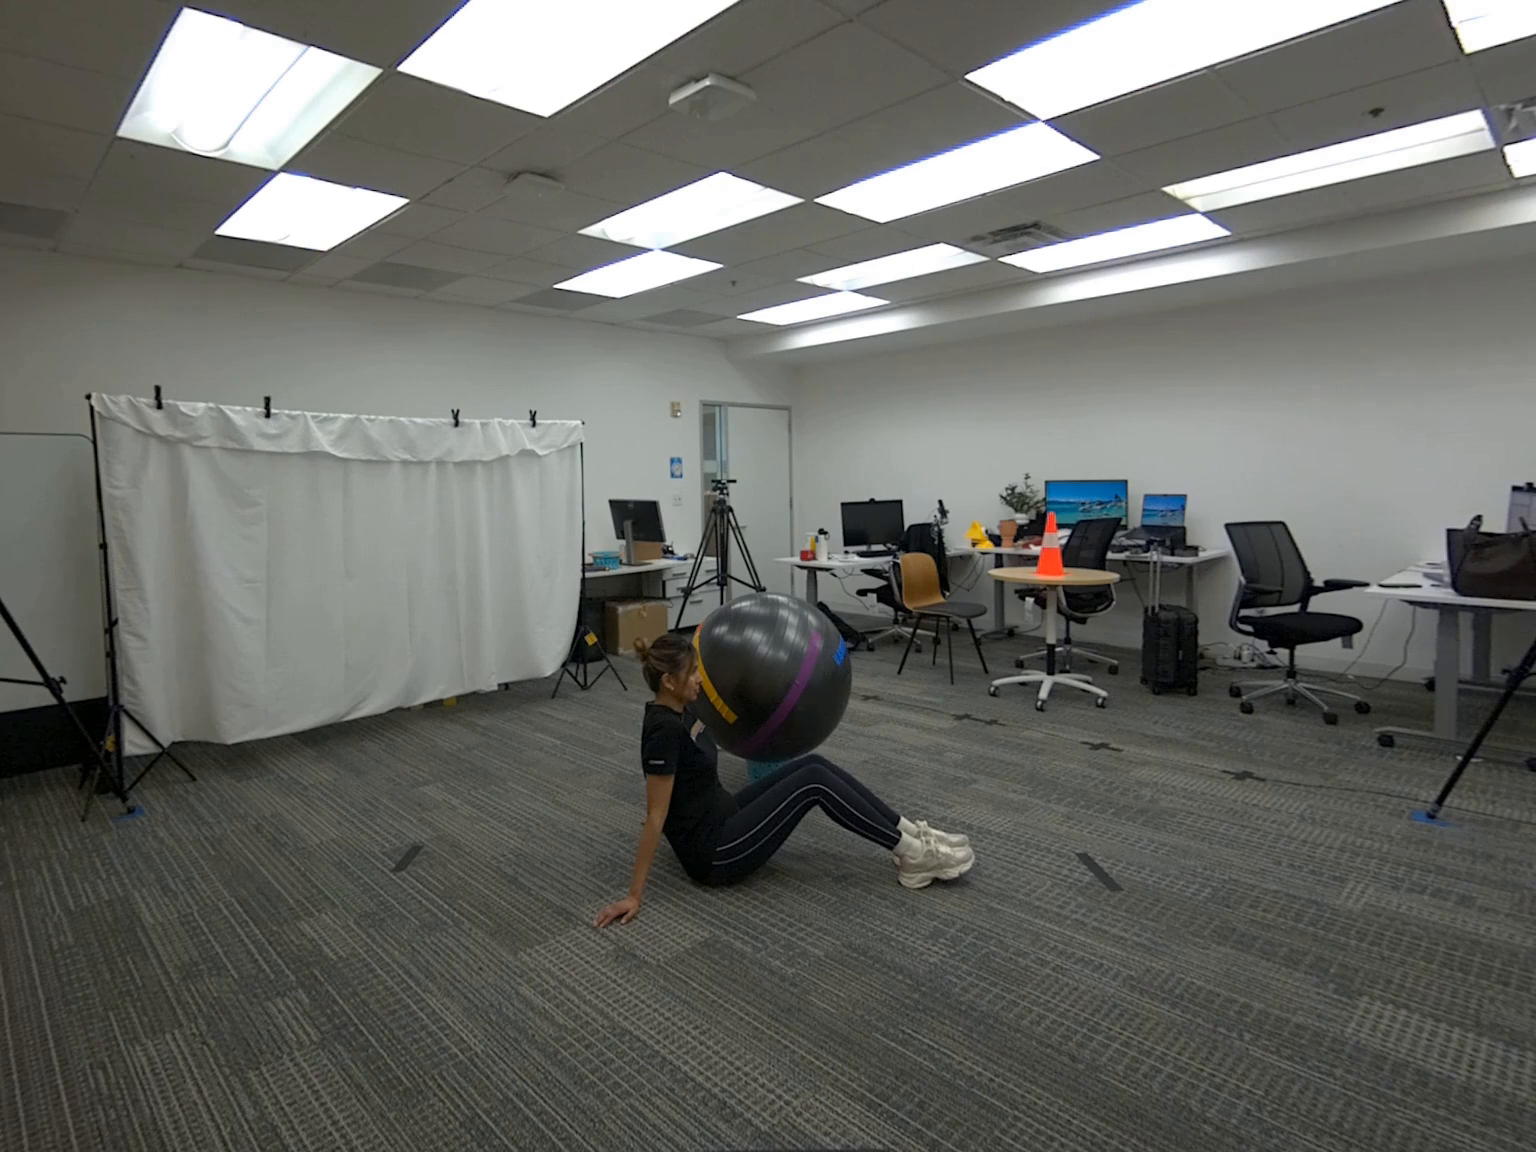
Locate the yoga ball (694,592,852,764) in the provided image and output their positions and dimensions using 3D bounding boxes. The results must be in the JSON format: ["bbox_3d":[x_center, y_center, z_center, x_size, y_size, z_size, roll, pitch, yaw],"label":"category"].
[{"bbox_3d":[-0.003,0.455,3.856,0.757,0.755,0.762,-1,5,-2],"label":"yoga ball"}]
